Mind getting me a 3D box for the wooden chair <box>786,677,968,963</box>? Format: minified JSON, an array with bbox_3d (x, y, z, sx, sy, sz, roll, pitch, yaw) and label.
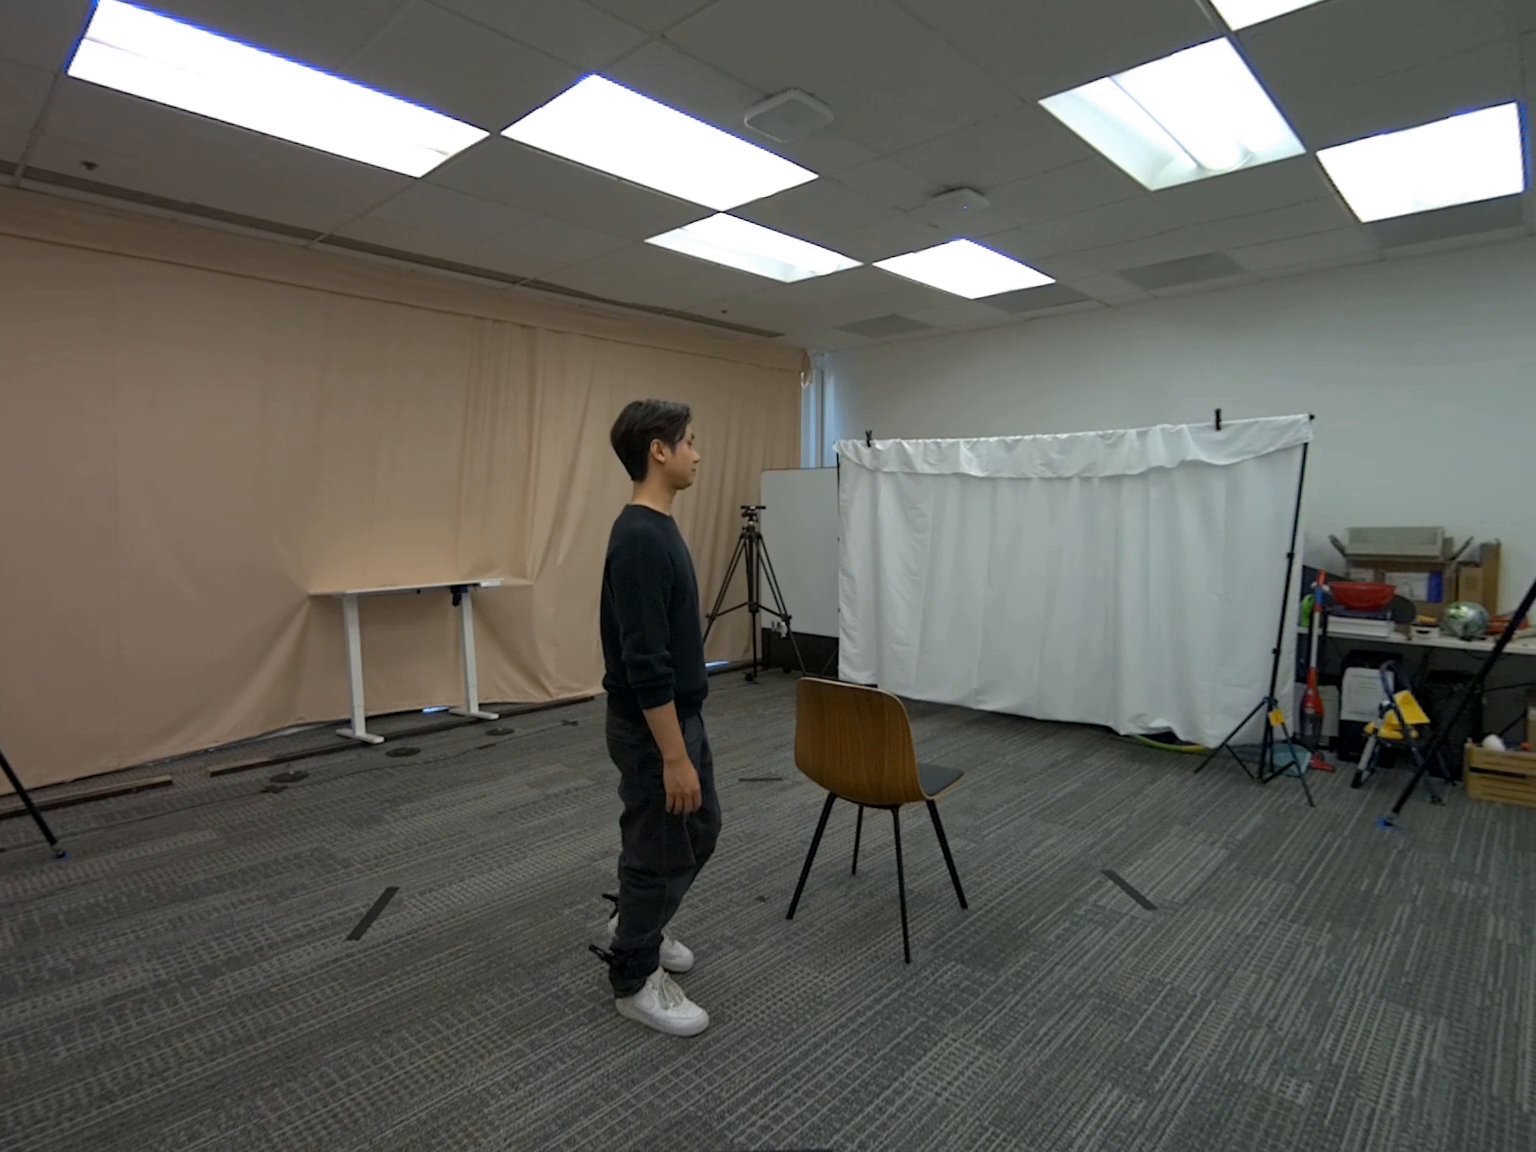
[{"bbox_3d":[0.381,0.725,2.846,0.493,0.873,0.509,2,8,37],"label":"wooden chair"}]
